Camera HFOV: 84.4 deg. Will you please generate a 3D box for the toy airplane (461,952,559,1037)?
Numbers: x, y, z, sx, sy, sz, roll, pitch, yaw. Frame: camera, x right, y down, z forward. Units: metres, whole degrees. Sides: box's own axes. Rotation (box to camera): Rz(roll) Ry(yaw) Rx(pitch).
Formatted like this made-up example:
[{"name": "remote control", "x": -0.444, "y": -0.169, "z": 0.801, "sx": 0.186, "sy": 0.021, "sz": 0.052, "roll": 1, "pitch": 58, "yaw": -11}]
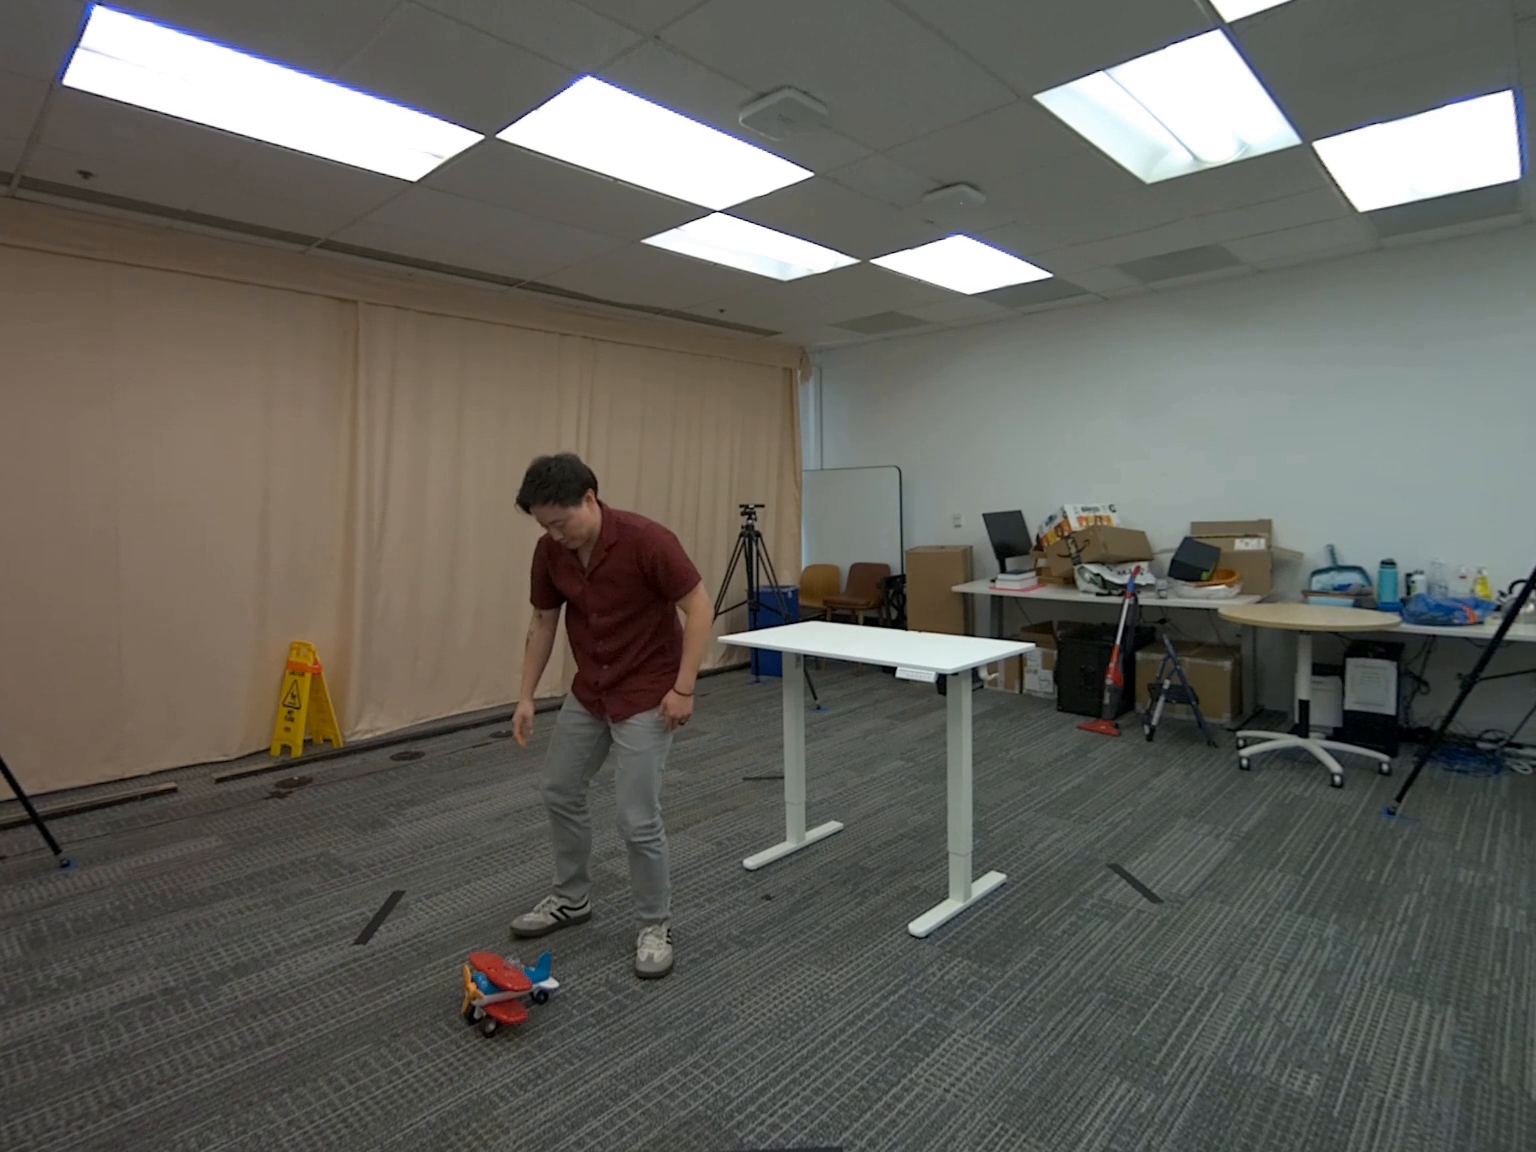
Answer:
[{"name": "toy airplane", "x": -0.725, "y": 1.133, "z": 2.326, "sx": 0.255, "sy": 0.156, "sz": 0.255, "roll": 0, "pitch": 5, "yaw": 16}]
